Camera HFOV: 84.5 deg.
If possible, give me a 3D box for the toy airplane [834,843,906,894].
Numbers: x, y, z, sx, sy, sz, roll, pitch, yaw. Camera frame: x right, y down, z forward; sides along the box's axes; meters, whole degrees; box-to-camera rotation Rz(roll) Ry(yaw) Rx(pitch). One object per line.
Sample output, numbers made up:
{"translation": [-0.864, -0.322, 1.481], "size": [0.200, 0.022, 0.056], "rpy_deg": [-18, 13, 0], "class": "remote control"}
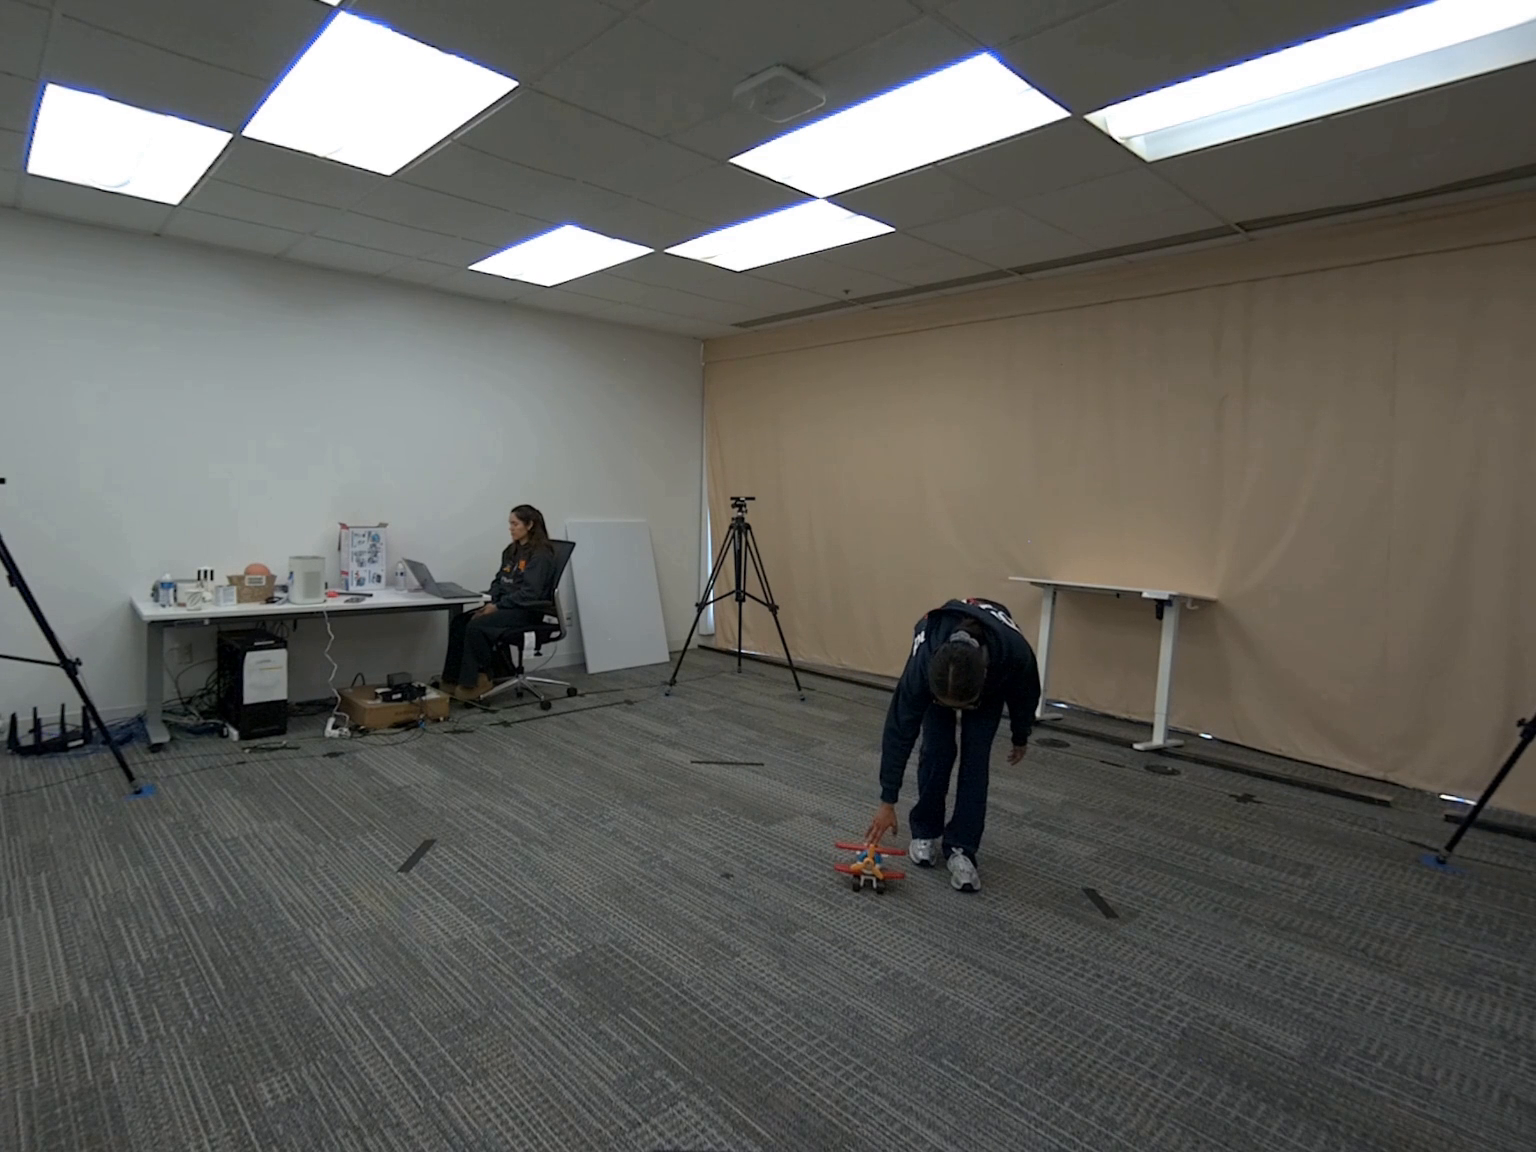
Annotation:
{"translation": [0.346, 1.043, 3.086], "size": [0.248, 0.156, 0.263], "rpy_deg": [0, 5, -17], "class": "toy airplane"}
